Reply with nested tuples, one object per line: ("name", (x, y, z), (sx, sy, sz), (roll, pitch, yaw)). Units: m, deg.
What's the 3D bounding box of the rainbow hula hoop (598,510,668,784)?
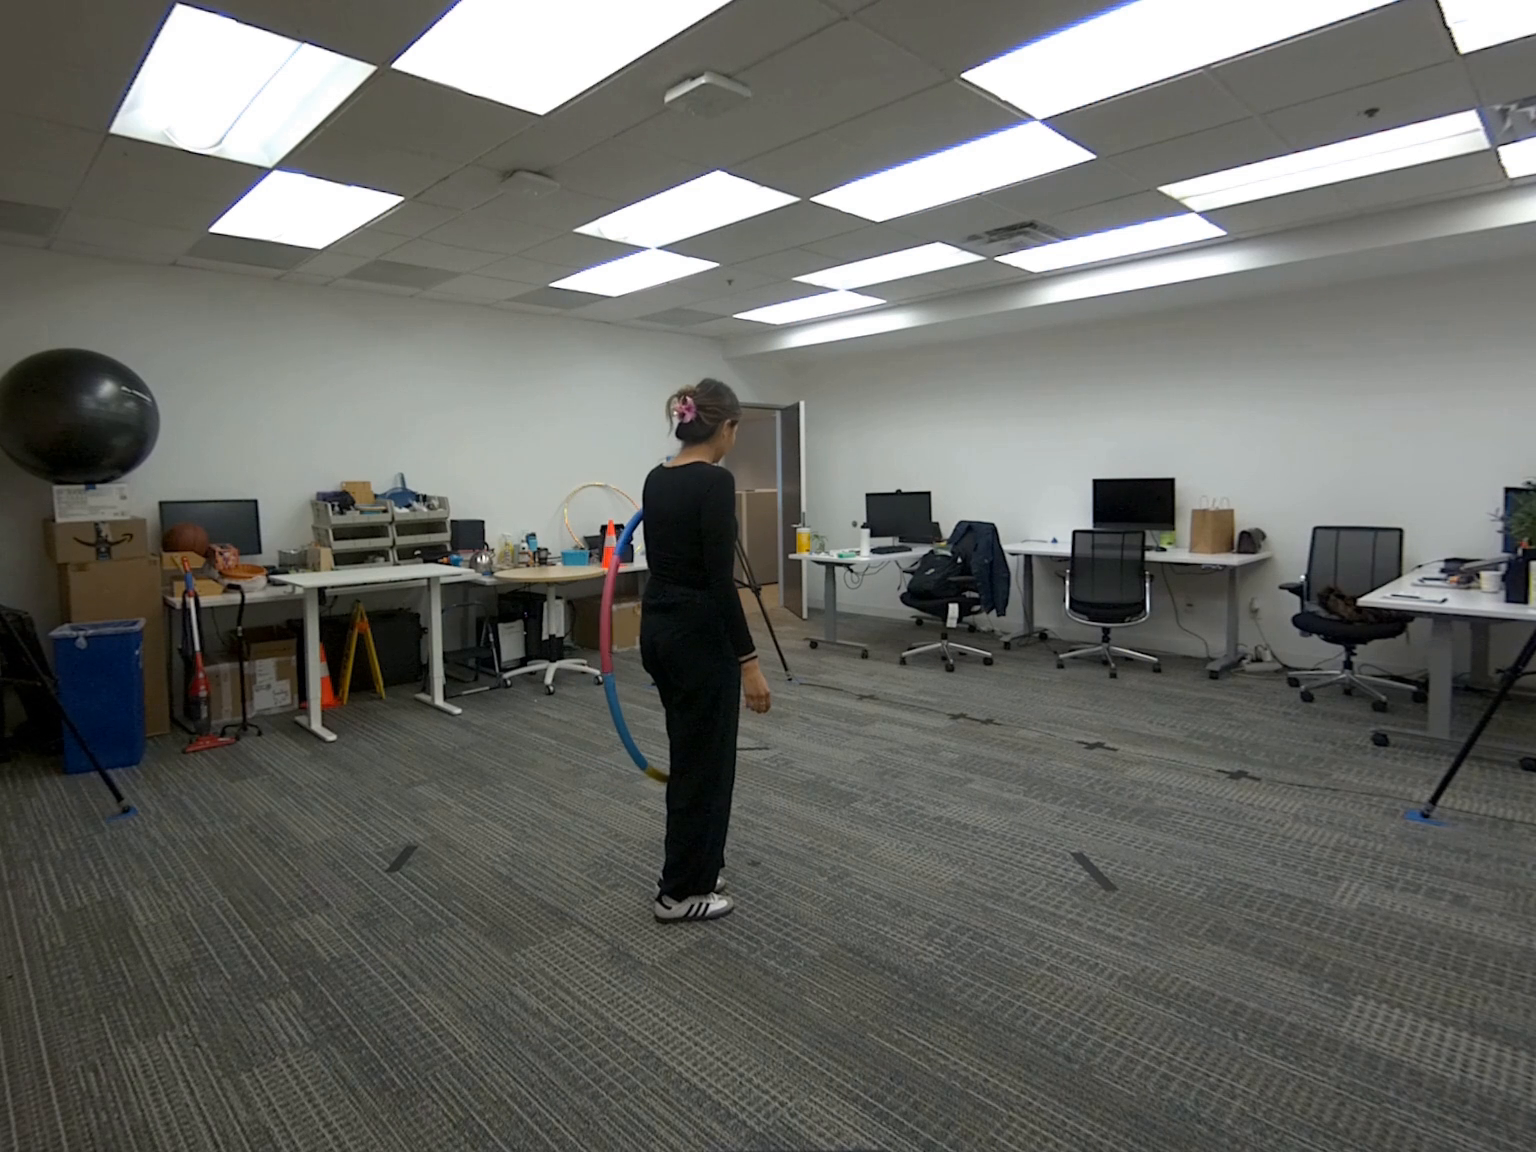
("rainbow hula hoop", (-0.312, 0.217, 3.024), (0.036, 0.977, 0.961), (-5, 3, 23))
